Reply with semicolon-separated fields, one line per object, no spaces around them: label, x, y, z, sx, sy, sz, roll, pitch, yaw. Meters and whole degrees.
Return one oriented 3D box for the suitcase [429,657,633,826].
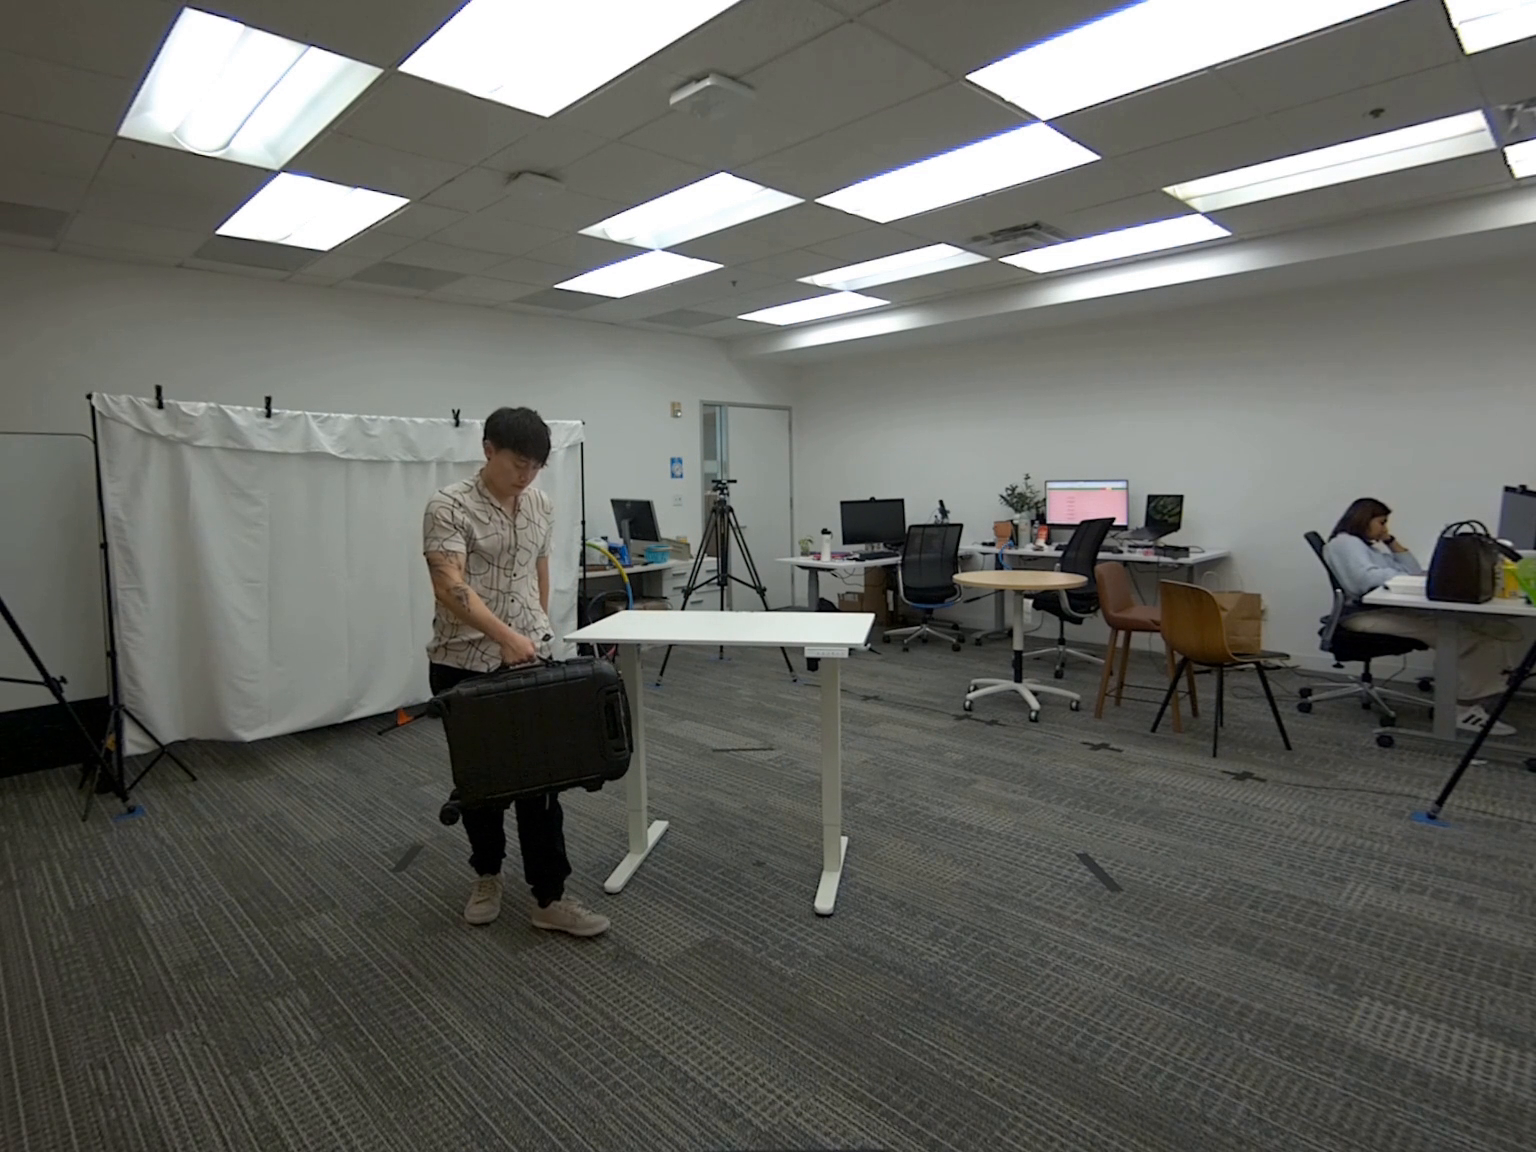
suitcase;-0.676;0.447;2.484;0.544;0.377;0.250;-9;-2;-12
